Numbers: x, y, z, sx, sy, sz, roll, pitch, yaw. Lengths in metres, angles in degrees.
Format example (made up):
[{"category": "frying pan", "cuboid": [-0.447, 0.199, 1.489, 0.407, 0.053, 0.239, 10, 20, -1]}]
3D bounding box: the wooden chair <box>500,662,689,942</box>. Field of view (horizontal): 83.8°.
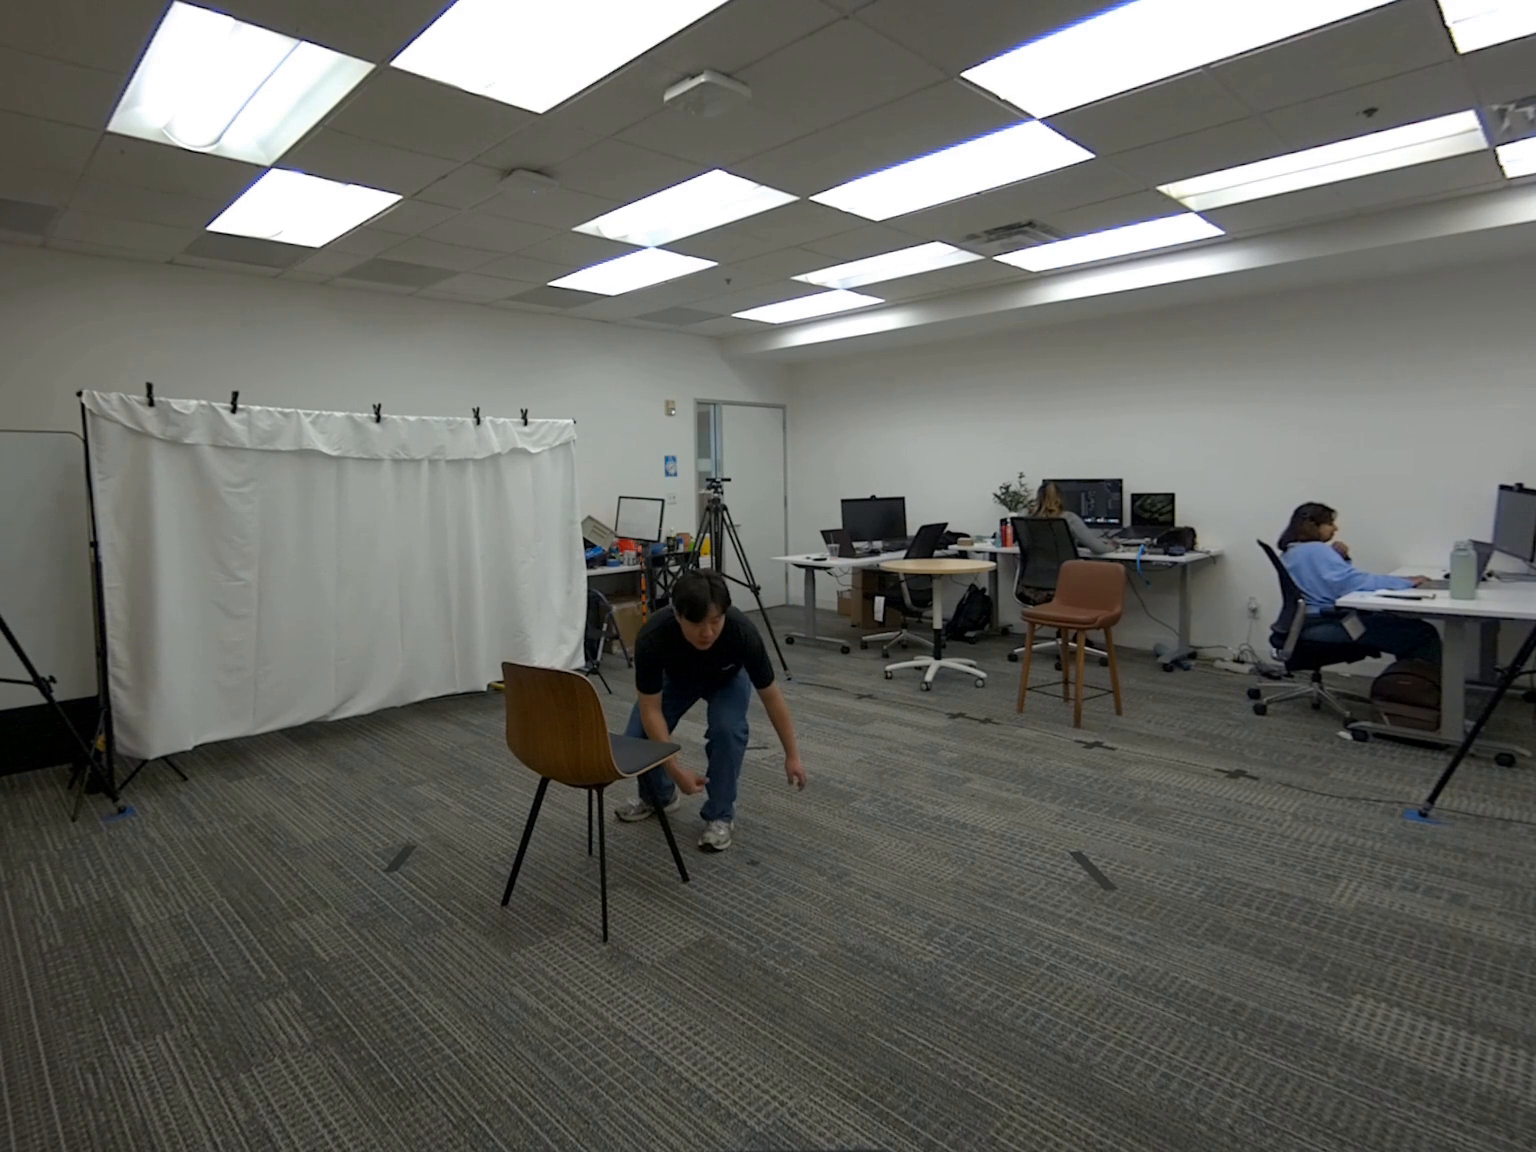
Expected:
[{"category": "wooden chair", "cuboid": [-0.579, 0.654, 2.867, 0.491, 0.871, 0.513, 2, 9, 31]}]
